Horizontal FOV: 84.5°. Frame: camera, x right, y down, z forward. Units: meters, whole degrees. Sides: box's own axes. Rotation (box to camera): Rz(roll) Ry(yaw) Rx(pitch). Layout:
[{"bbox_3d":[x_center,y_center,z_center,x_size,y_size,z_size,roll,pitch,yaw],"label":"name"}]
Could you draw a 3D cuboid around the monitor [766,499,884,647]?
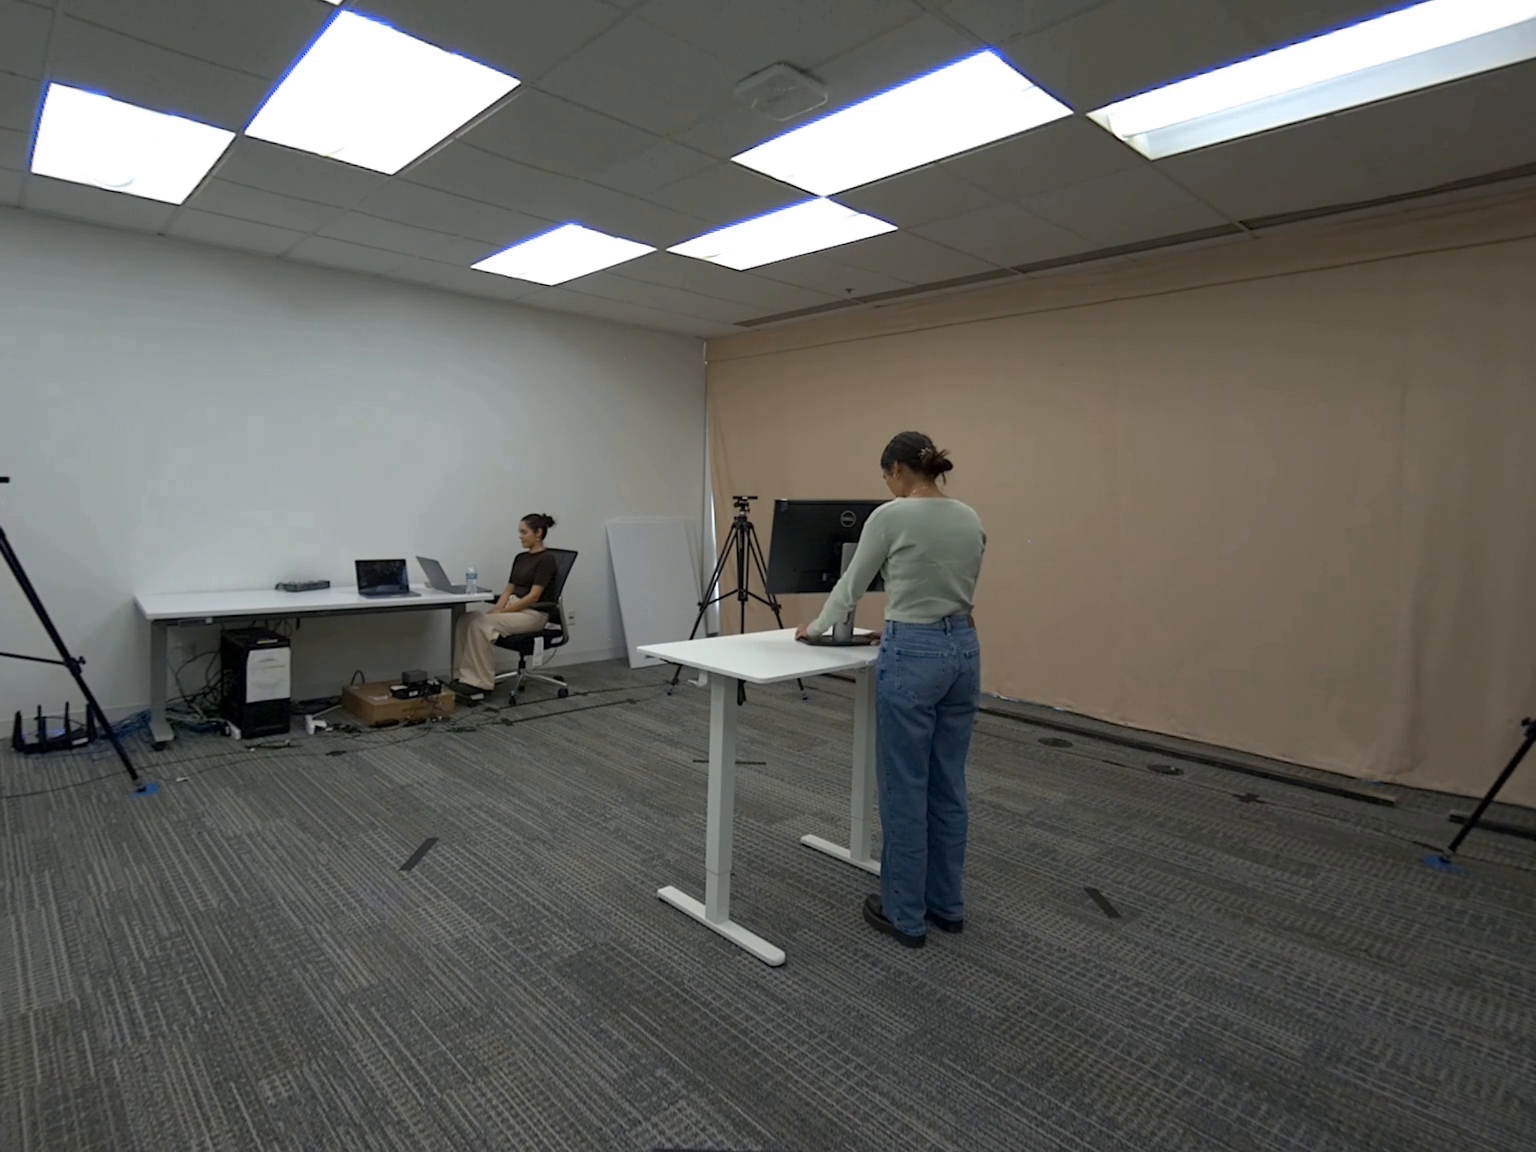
[{"bbox_3d":[0.262,-0.018,3.007,0.524,0.516,0.176,-1,0,-14],"label":"monitor"}]
